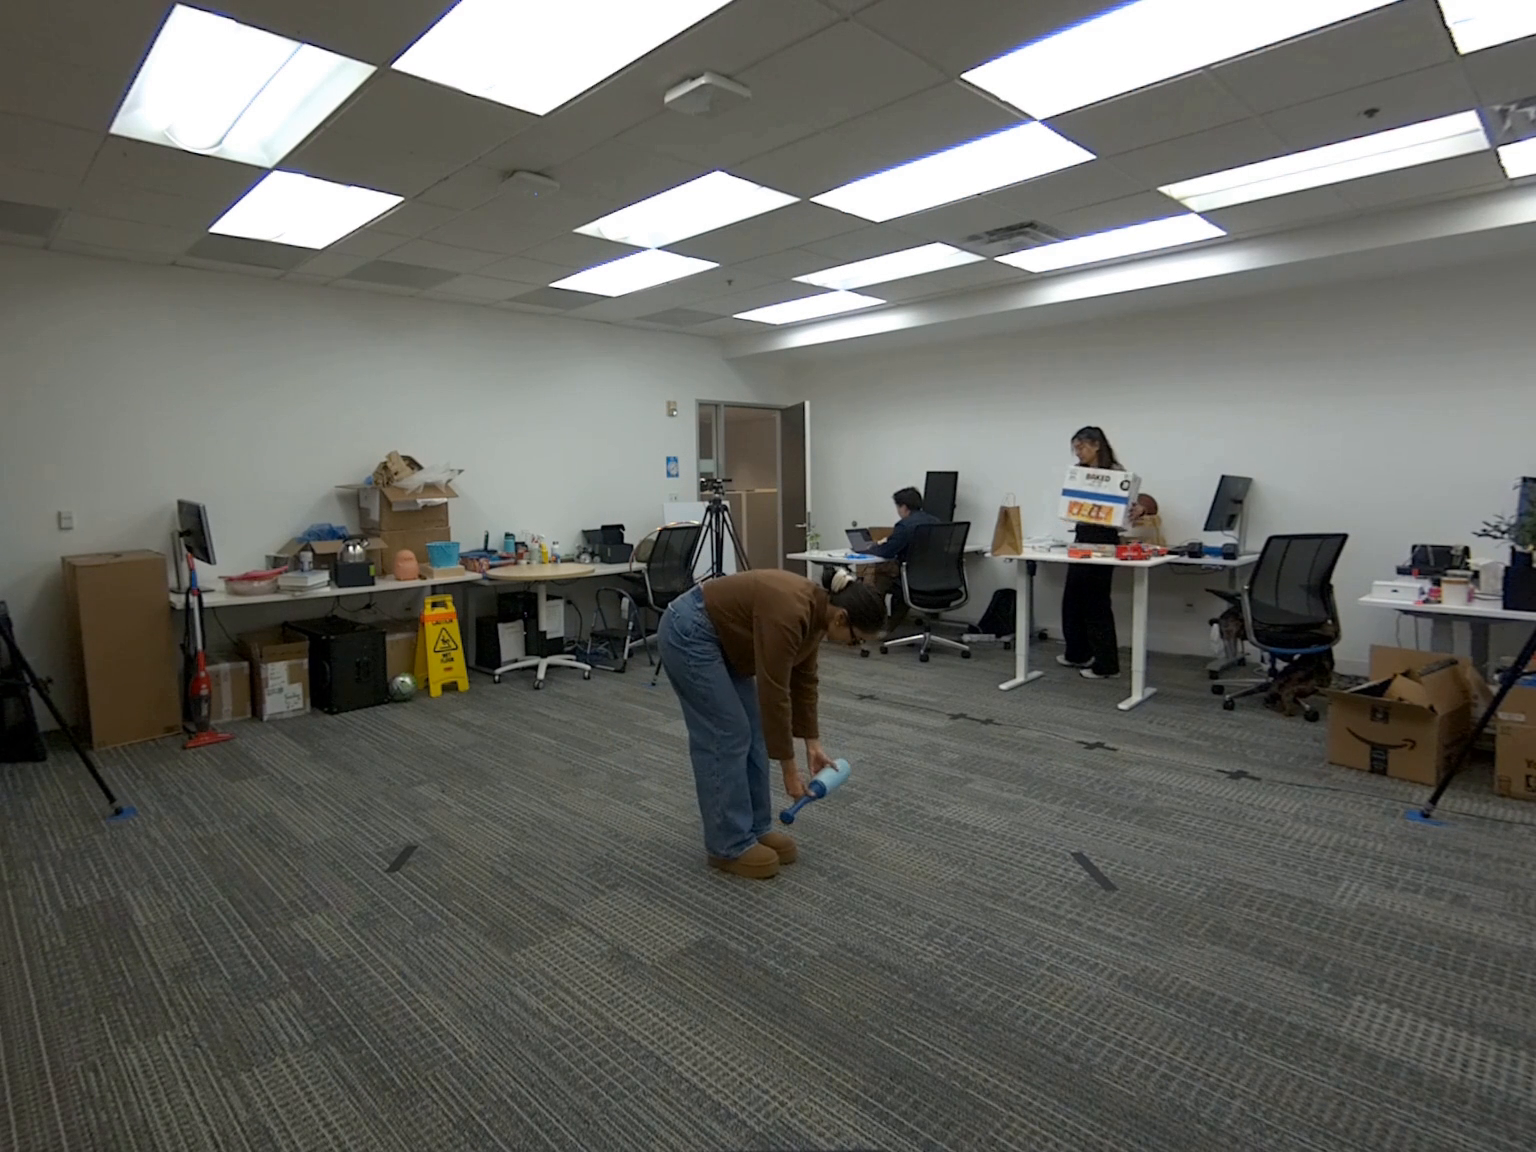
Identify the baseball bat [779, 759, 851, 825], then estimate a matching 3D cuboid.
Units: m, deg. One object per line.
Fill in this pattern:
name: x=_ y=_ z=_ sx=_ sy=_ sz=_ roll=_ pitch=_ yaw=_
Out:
baseball bat: x=0.159 y=0.755 z=3.002 sx=0.091 sy=0.089 sz=0.532 roll=1 pitch=5 yaw=25
